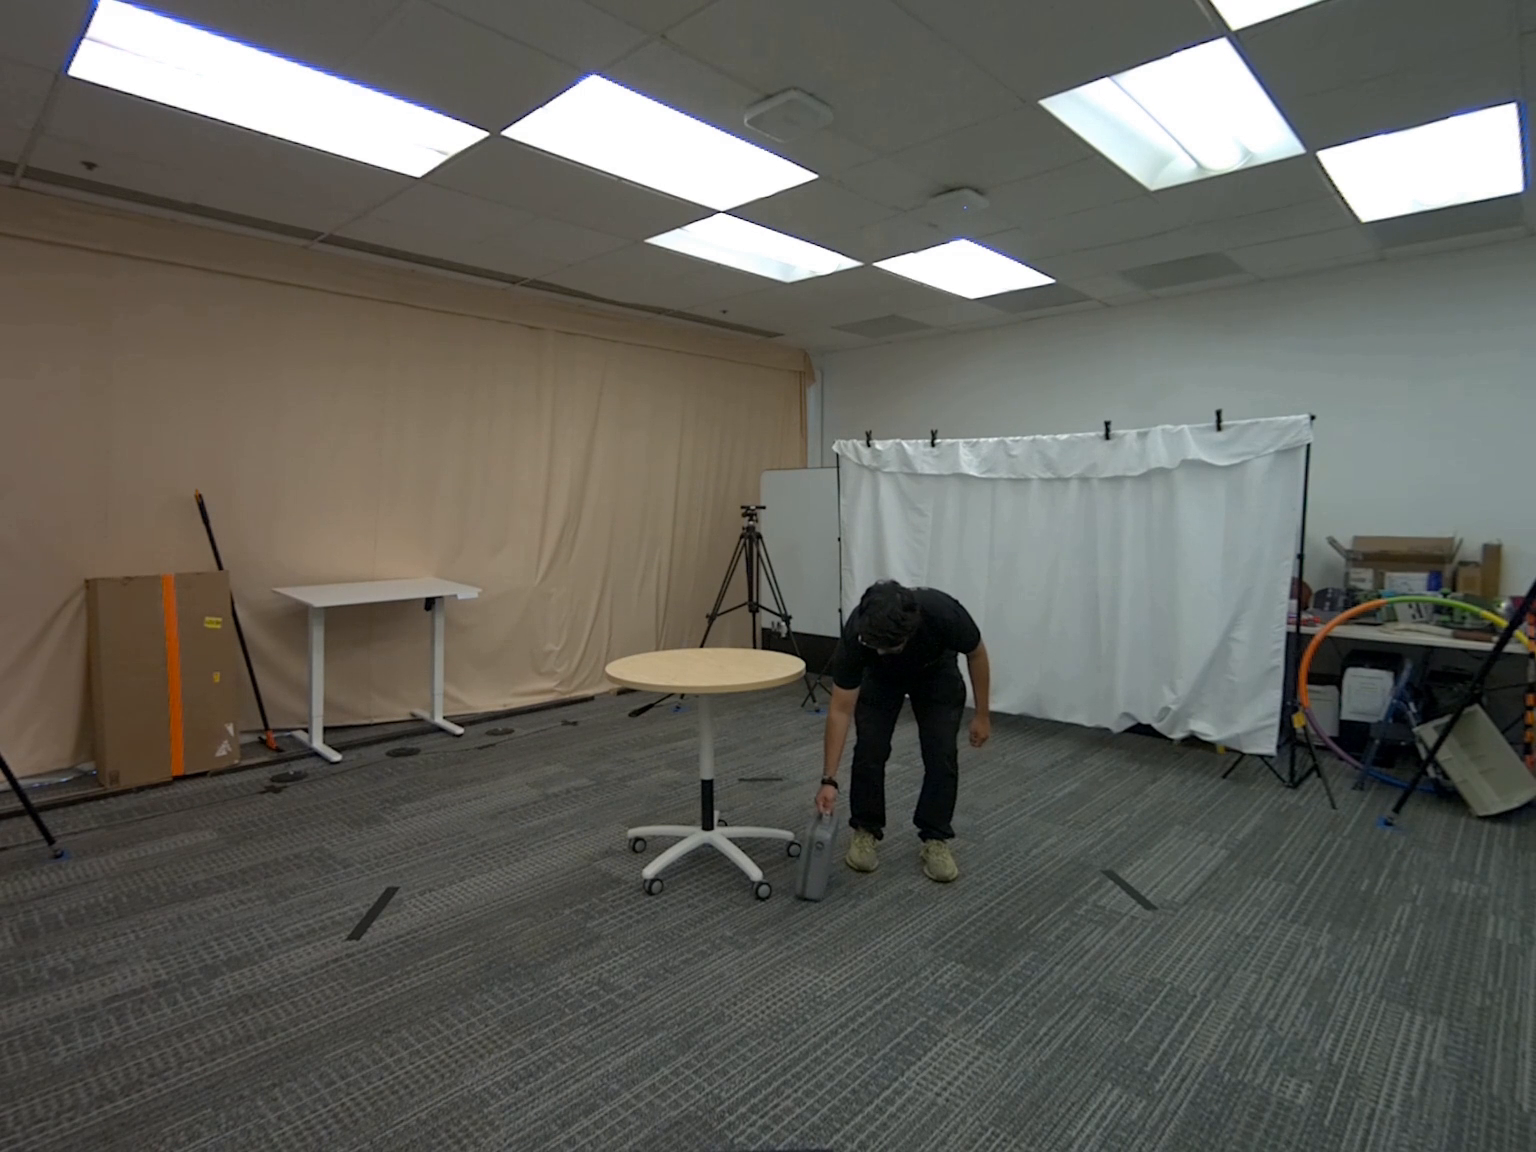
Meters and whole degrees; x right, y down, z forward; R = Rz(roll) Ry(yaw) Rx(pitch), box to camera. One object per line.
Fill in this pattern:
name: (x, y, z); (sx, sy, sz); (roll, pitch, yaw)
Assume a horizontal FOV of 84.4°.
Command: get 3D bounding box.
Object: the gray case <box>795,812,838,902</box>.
gray case: (0.181, 1.002, 3.060); (0.106, 0.260, 0.253); (9, 6, 12)
